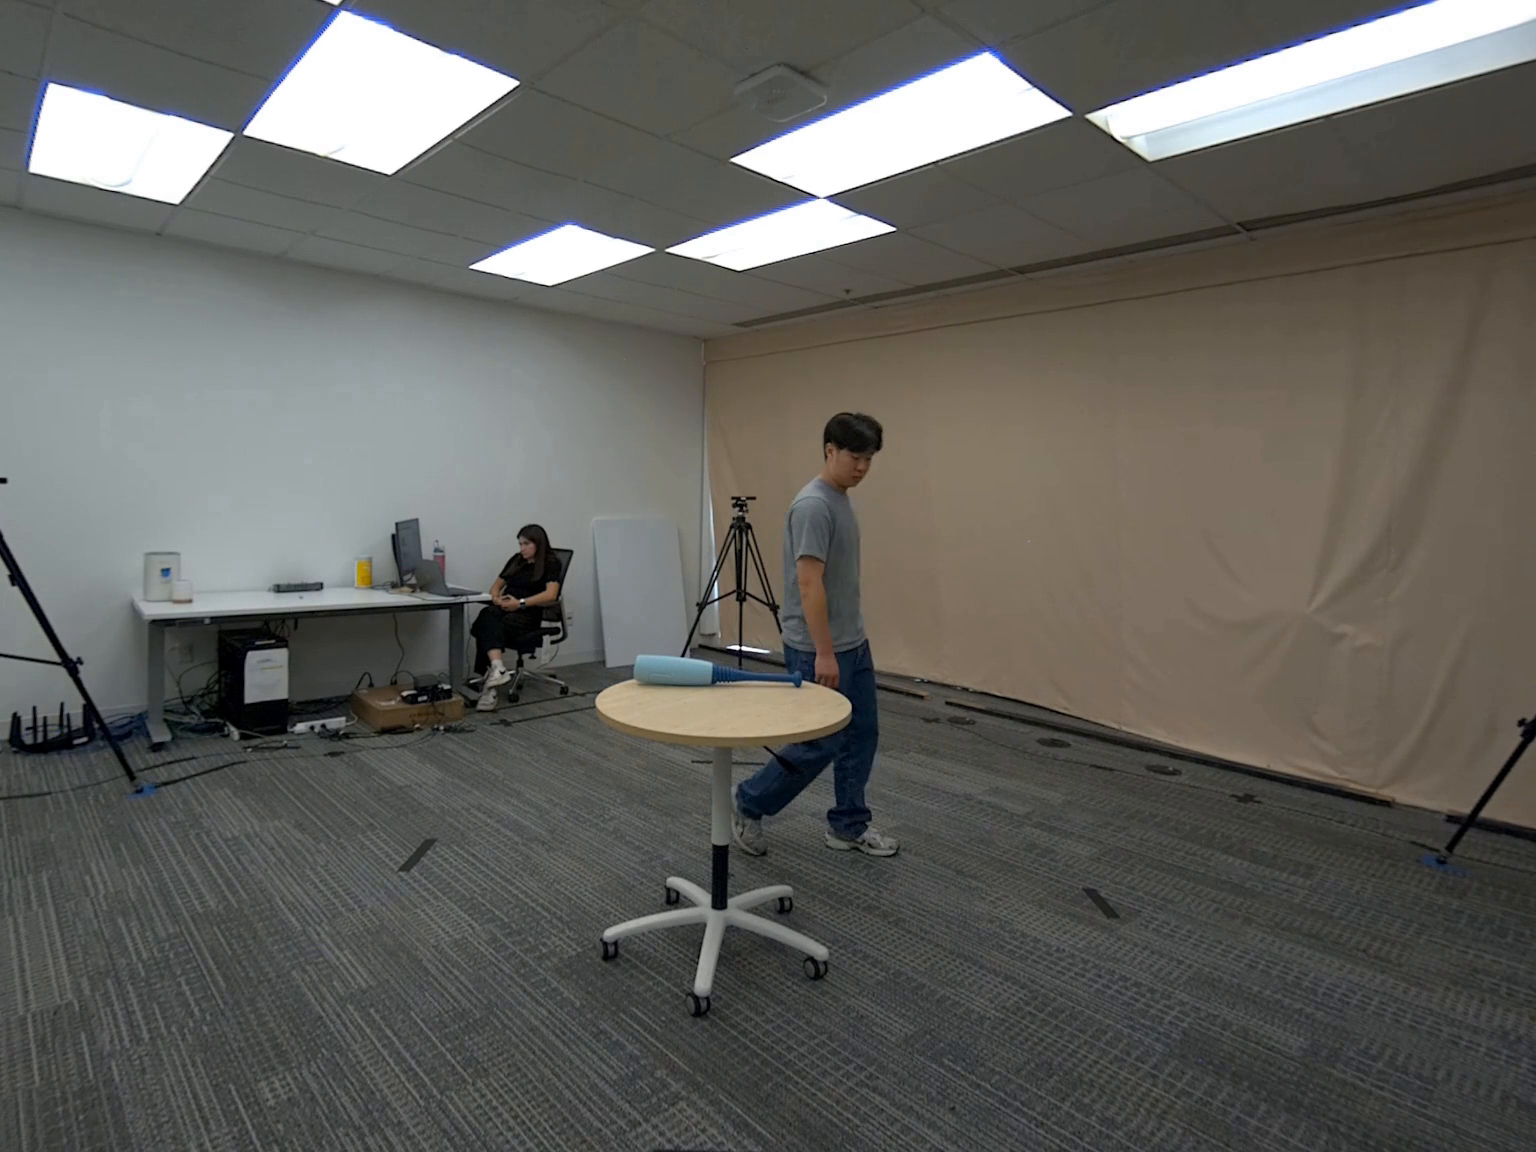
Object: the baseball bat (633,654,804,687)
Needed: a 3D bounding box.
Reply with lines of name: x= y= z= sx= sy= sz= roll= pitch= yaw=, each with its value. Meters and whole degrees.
baseball bat: x=-0.166 y=0.318 z=2.715 sx=0.541 sy=0.089 sz=0.089 roll=4 pitch=4 yaw=-5
